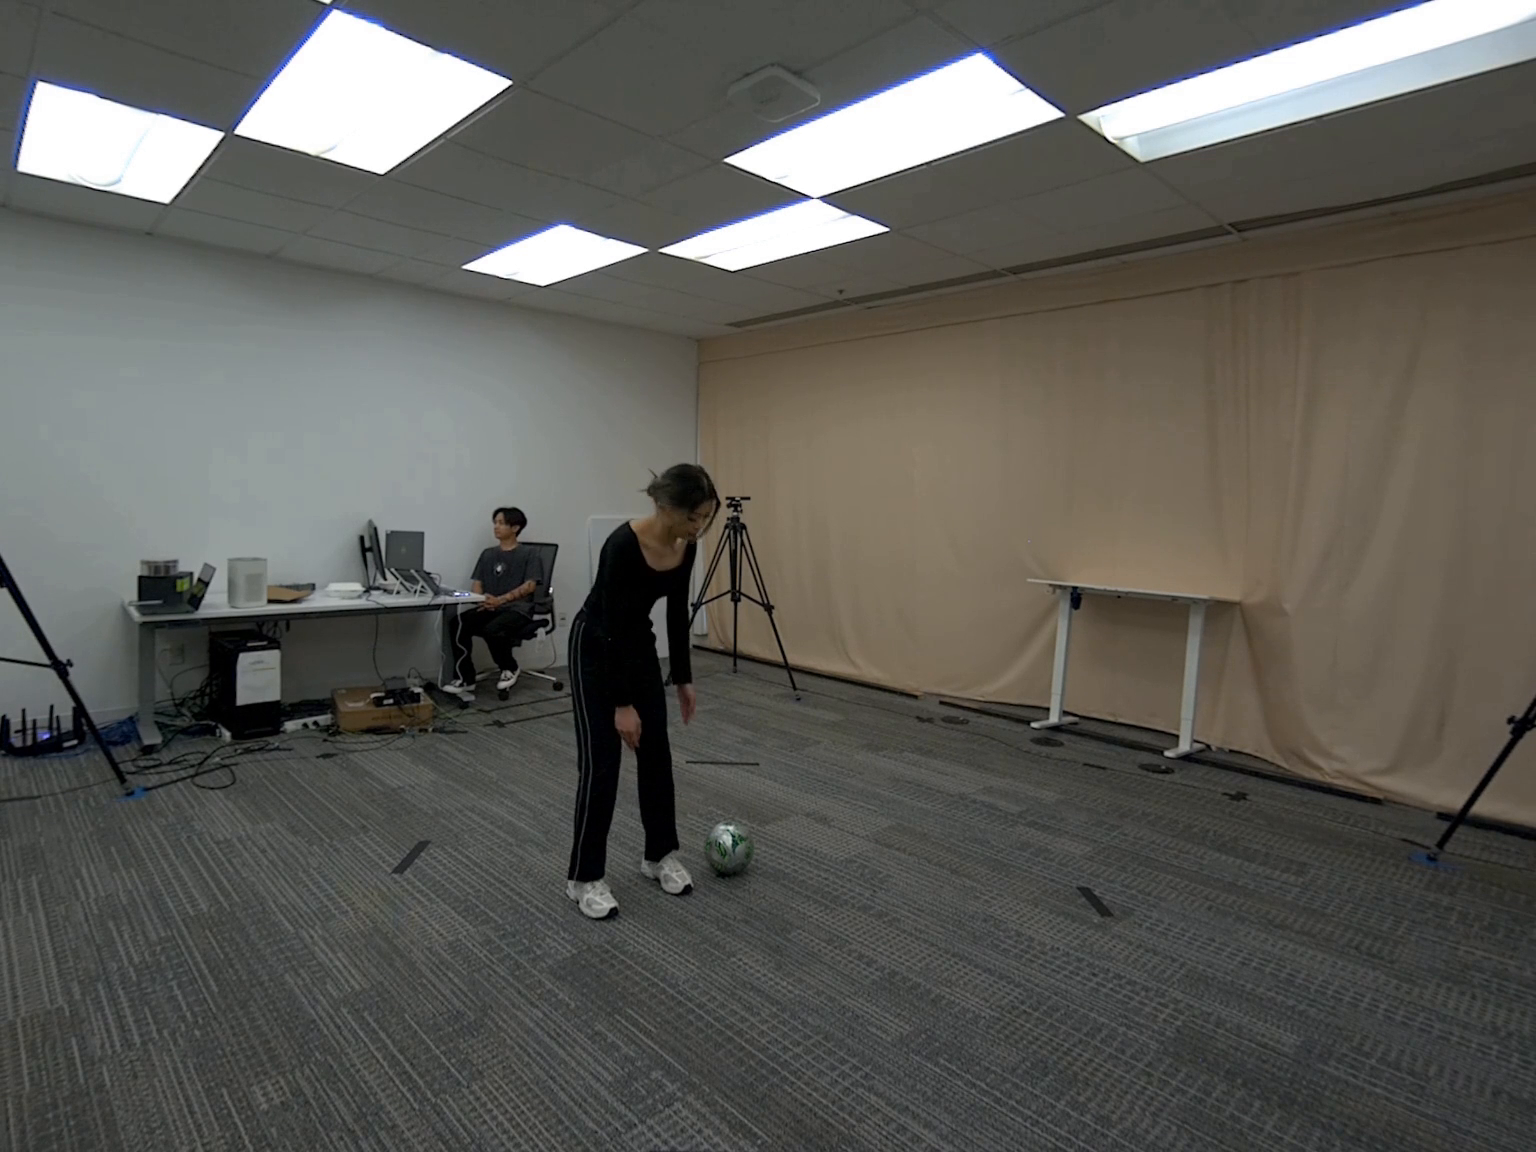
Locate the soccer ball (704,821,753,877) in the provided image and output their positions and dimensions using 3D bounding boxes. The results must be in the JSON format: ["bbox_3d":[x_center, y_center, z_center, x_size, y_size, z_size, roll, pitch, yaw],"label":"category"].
[{"bbox_3d":[-0.150,1.009,3.131,0.187,0.187,0.188,1,4,-1],"label":"soccer ball"}]
